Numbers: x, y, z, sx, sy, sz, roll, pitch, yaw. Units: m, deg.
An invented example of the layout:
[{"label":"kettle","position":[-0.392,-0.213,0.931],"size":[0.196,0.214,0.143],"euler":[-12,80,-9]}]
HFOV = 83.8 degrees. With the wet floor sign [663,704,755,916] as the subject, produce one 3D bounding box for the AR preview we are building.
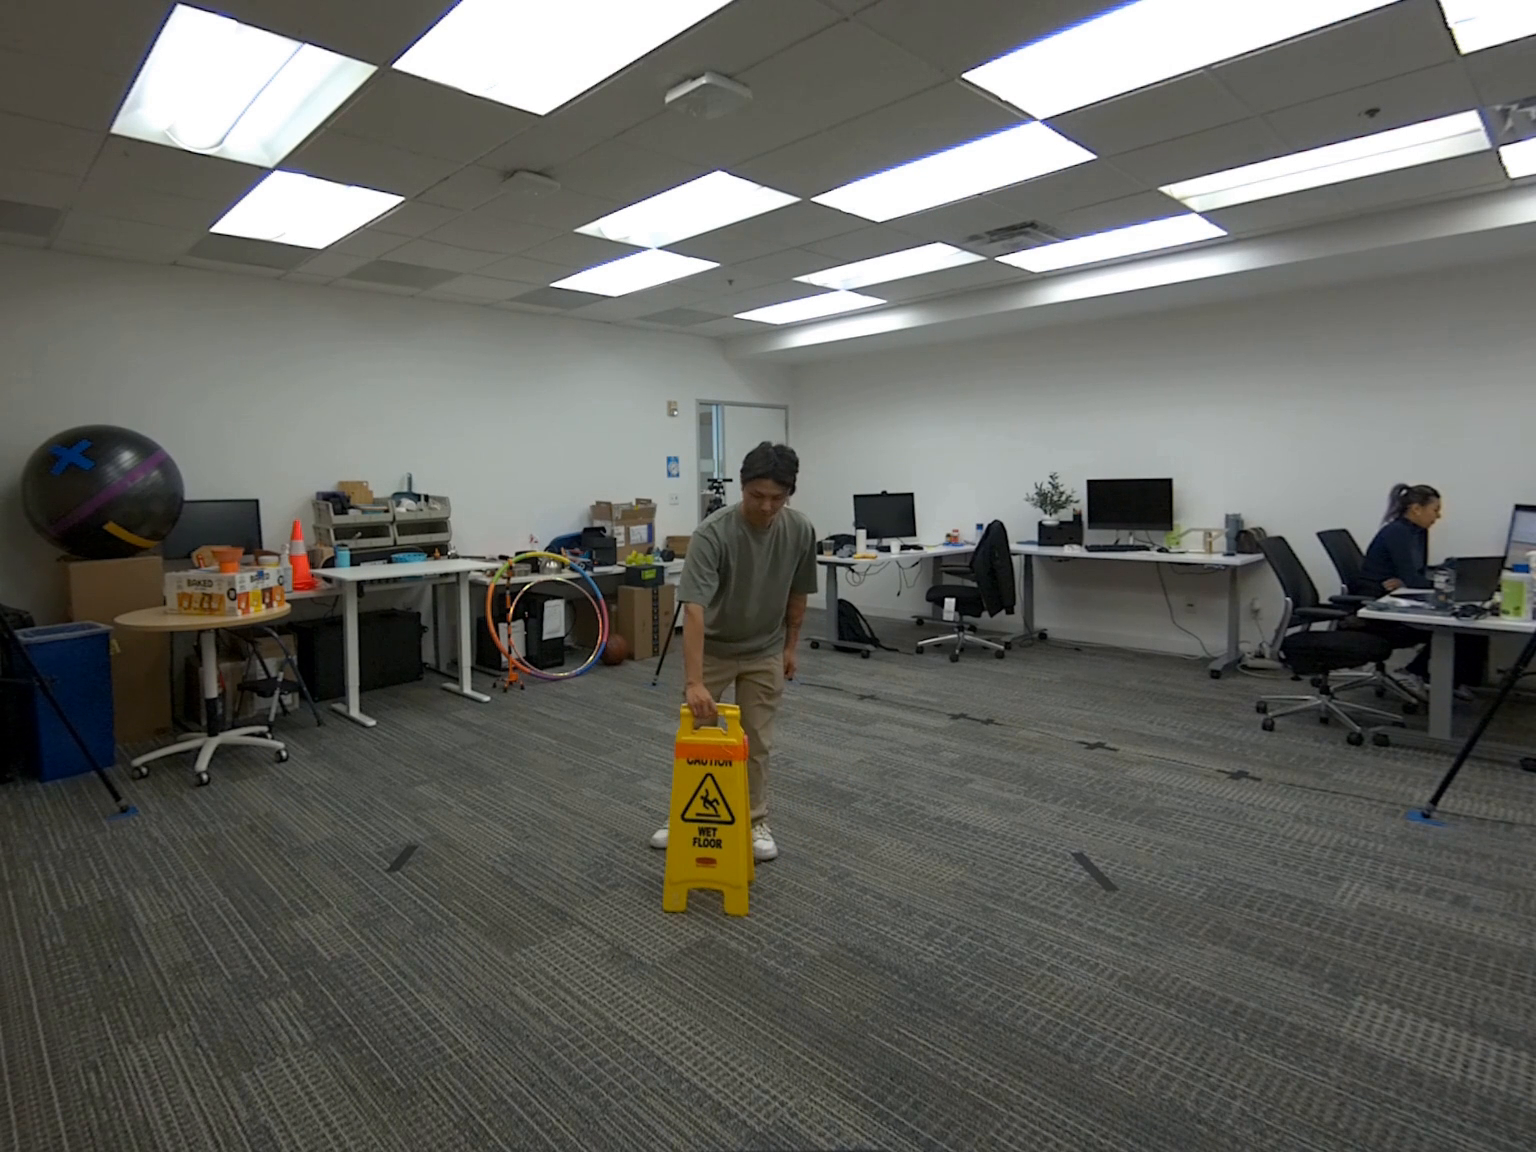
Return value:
[{"label":"wet floor sign","position":[-0.183,0.754,2.842],"size":[0.284,0.643,0.289],"euler":[0,6,6]}]
